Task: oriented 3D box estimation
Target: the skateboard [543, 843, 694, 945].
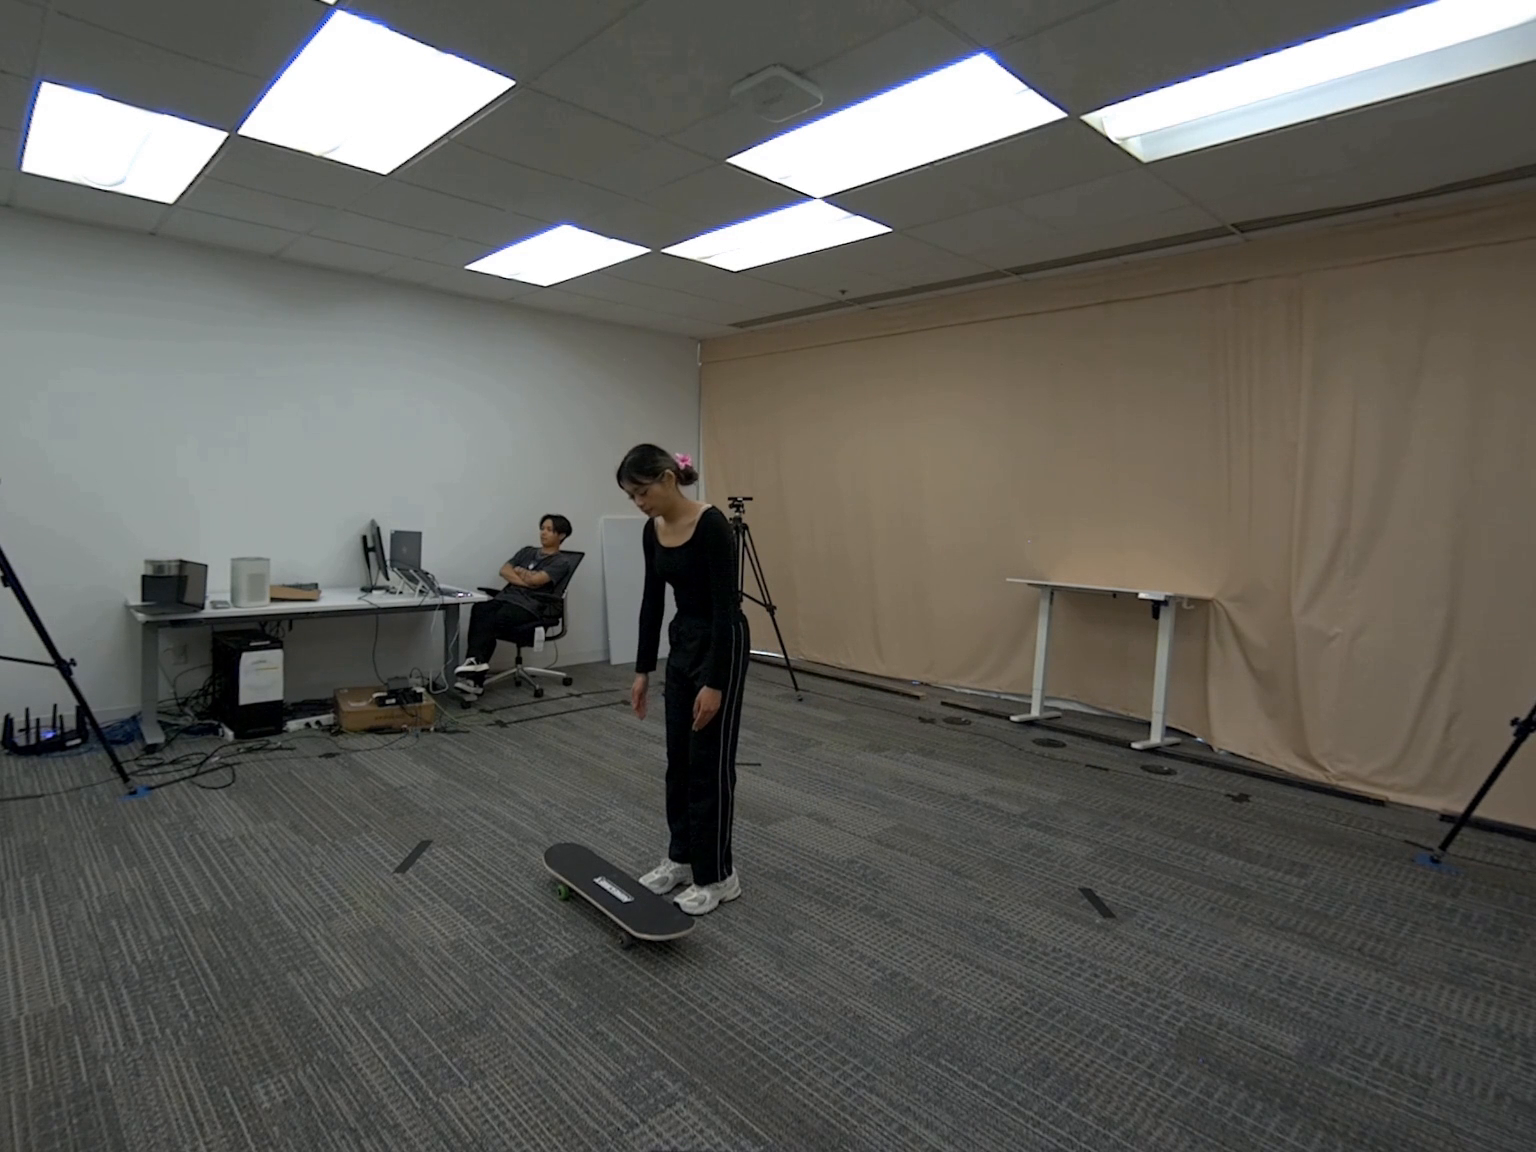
[{"bbox_3d":[-0.535,1.079,2.789,0.189,0.110,0.806,-4,8,-41],"label":"skateboard"}]
